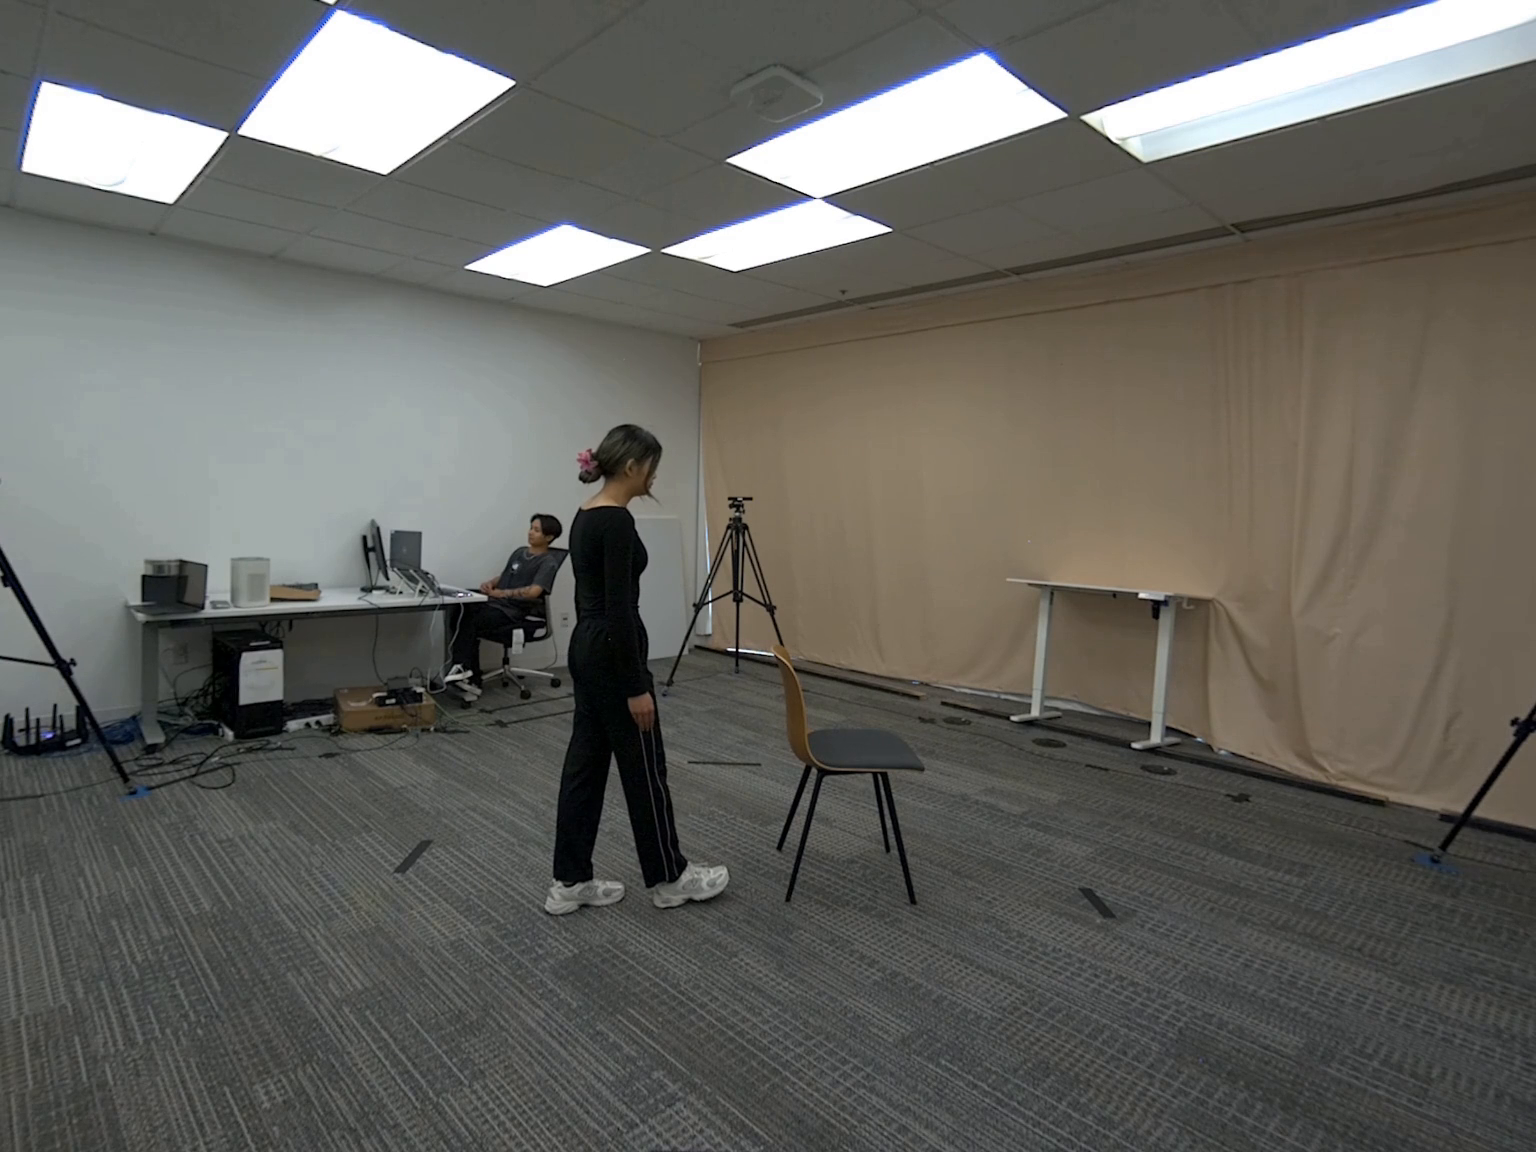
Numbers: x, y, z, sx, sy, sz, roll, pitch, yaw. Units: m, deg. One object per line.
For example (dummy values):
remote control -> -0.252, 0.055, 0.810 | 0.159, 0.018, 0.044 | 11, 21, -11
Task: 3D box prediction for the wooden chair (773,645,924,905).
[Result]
wooden chair -> 0.285, 0.688, 3.108 | 0.522, 0.876, 0.480 | -3, 3, -2
